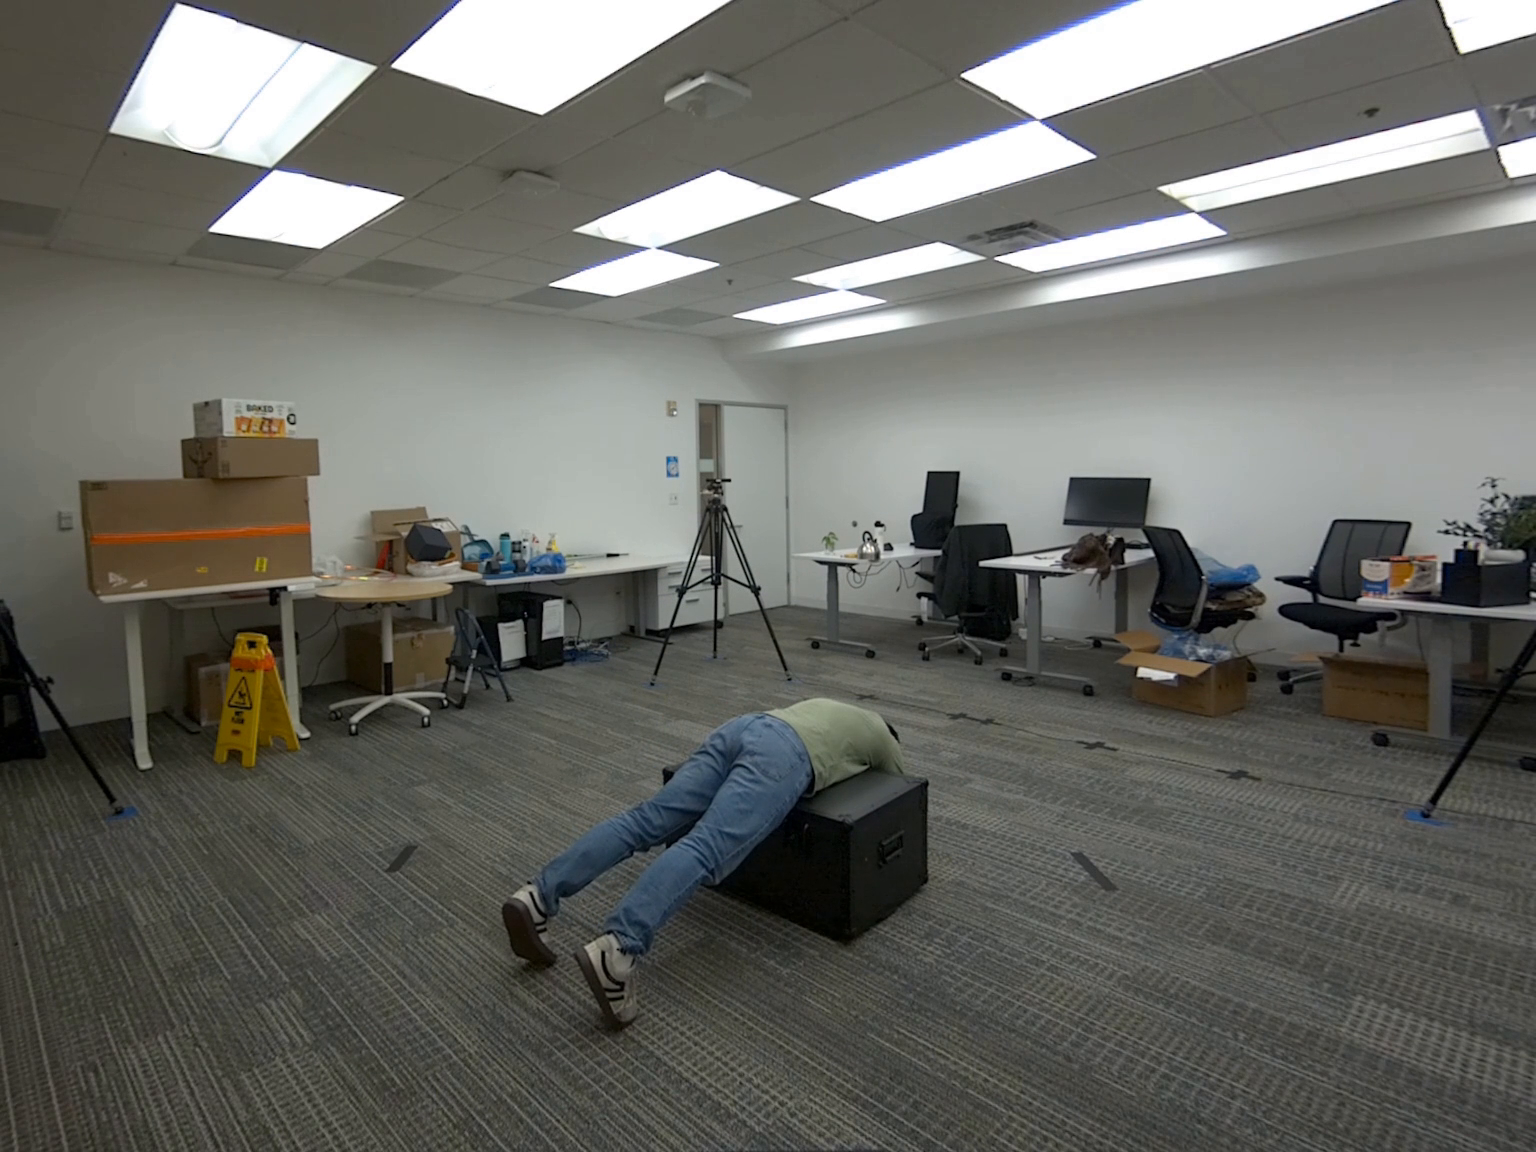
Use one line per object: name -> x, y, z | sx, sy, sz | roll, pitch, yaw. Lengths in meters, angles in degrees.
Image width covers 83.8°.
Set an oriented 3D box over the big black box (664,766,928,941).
big black box -> 0.060, 0.874, 2.984 | 0.888, 0.394, 0.508 | 6, 8, 39
